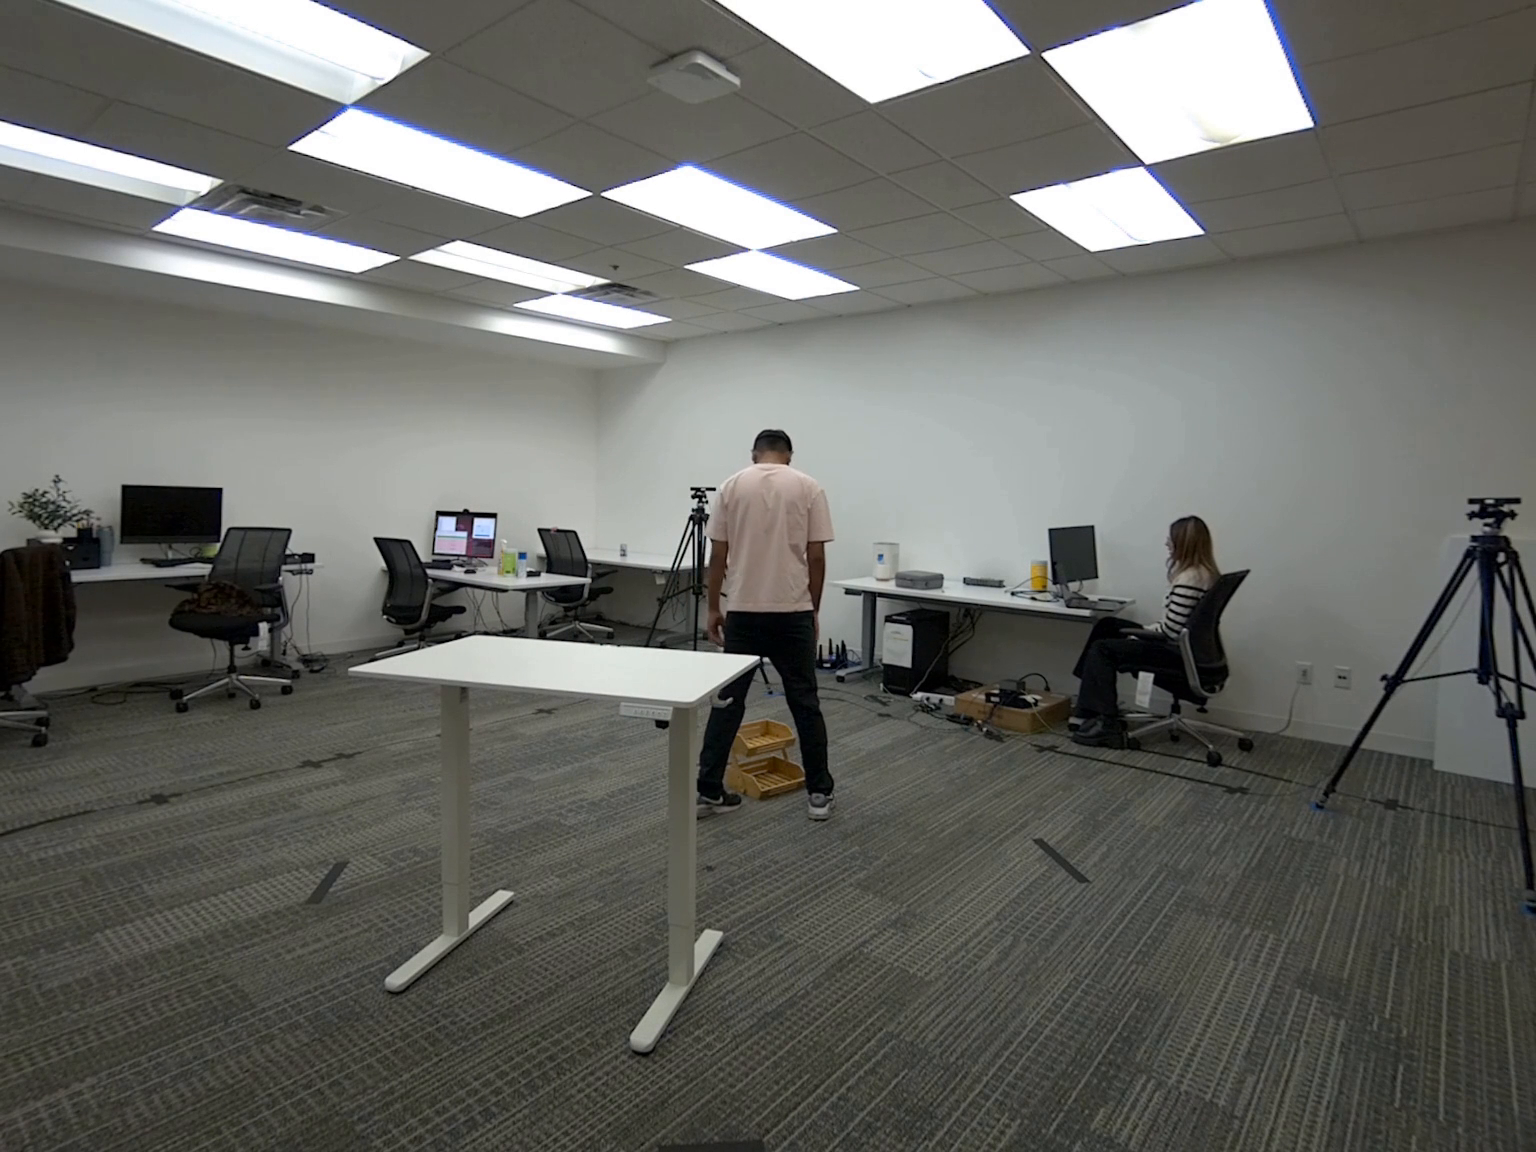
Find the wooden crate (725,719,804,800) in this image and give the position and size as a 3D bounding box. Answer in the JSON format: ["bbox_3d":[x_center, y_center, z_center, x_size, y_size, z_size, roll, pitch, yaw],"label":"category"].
[{"bbox_3d":[-0.026,0.848,4.005,0.315,0.272,0.312,-3,5,-41],"label":"wooden crate"}]
